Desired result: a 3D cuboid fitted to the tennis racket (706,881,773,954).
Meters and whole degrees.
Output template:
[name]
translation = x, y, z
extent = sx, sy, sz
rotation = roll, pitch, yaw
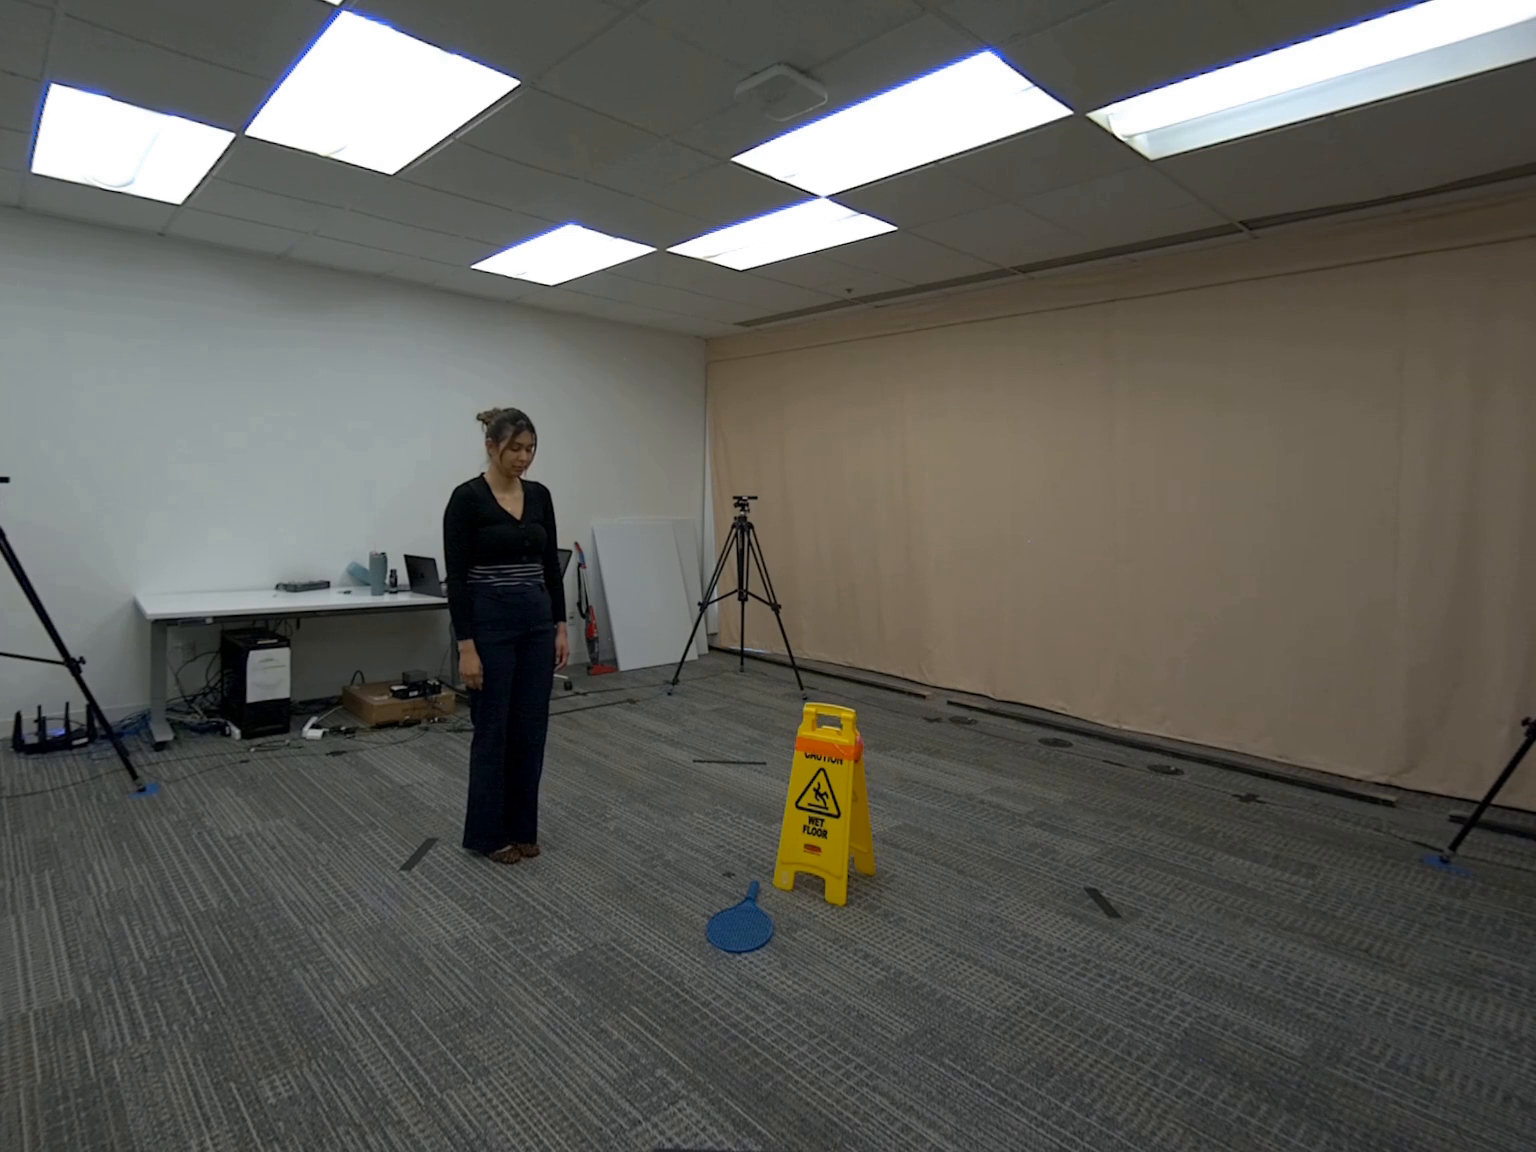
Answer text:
[tennis racket]
translation = -0.086, 1.120, 2.776
extent = 0.215, 0.031, 0.431
rotation = 1, 6, 7
